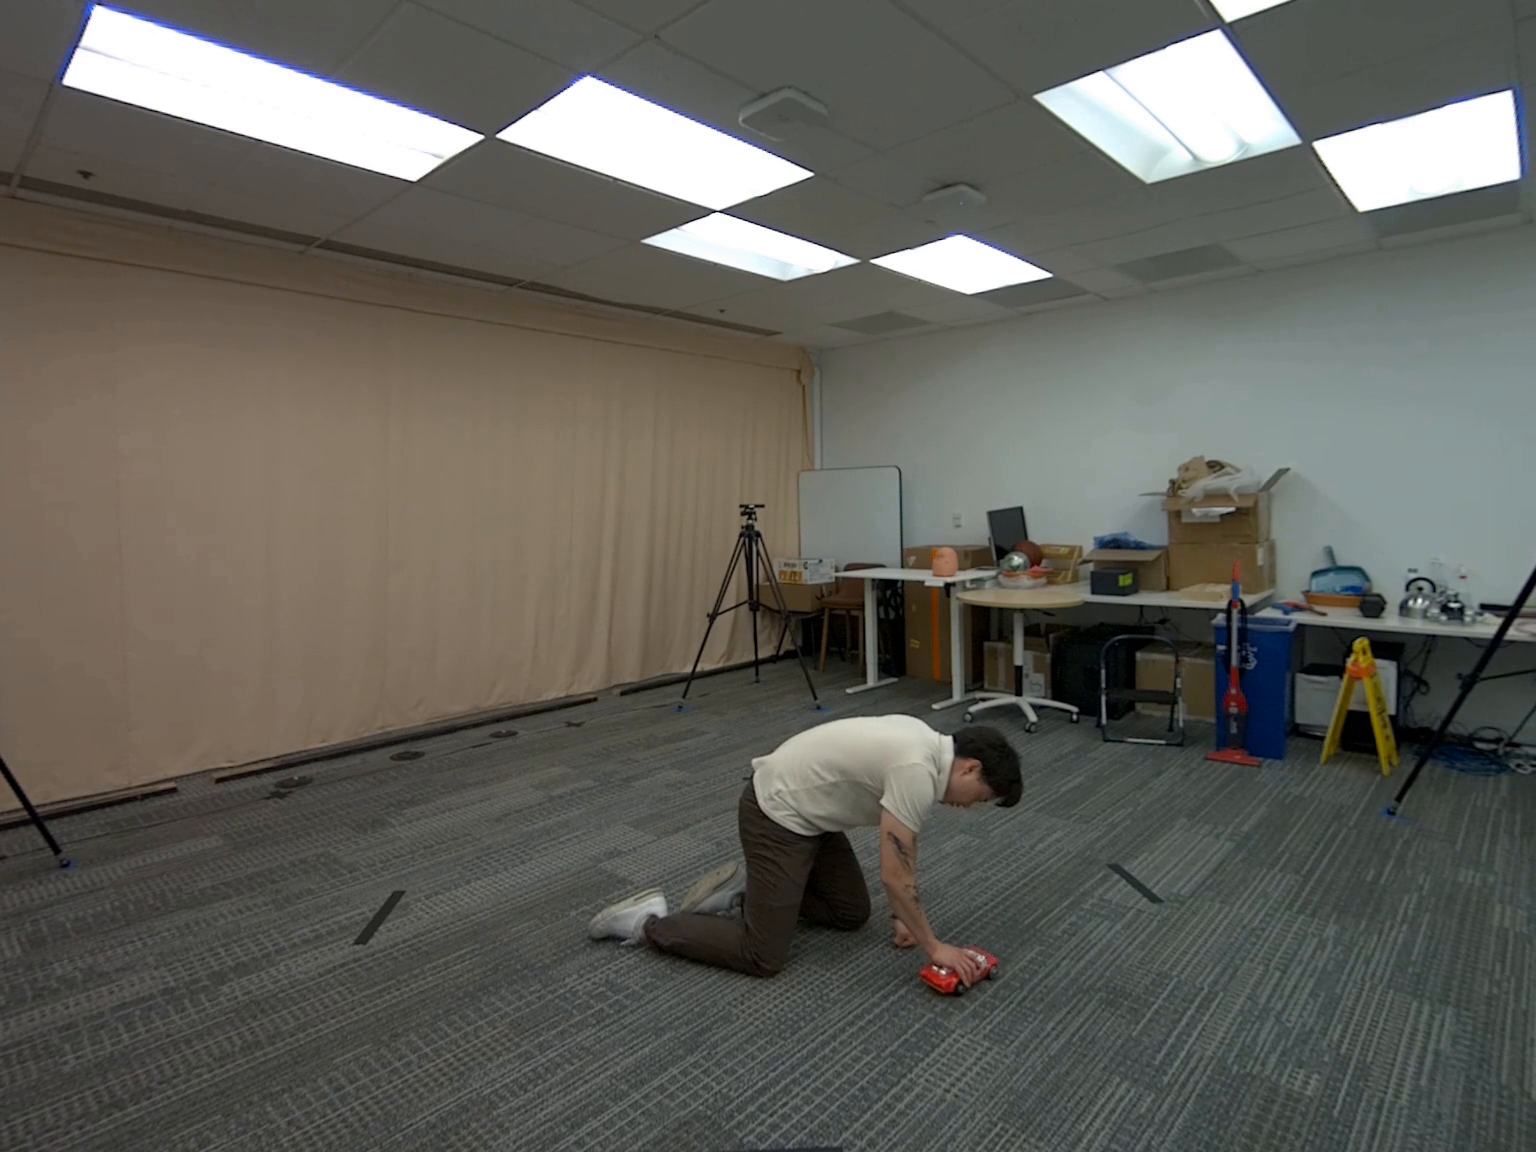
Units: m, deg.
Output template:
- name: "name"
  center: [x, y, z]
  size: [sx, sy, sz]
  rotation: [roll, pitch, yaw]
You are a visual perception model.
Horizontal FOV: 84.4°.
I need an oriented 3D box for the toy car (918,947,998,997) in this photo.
- name: "toy car"
  center: [0.564, 1.150, 2.434]
  size: [0.247, 0.083, 0.134]
  rotation: [6, 0, -33]
